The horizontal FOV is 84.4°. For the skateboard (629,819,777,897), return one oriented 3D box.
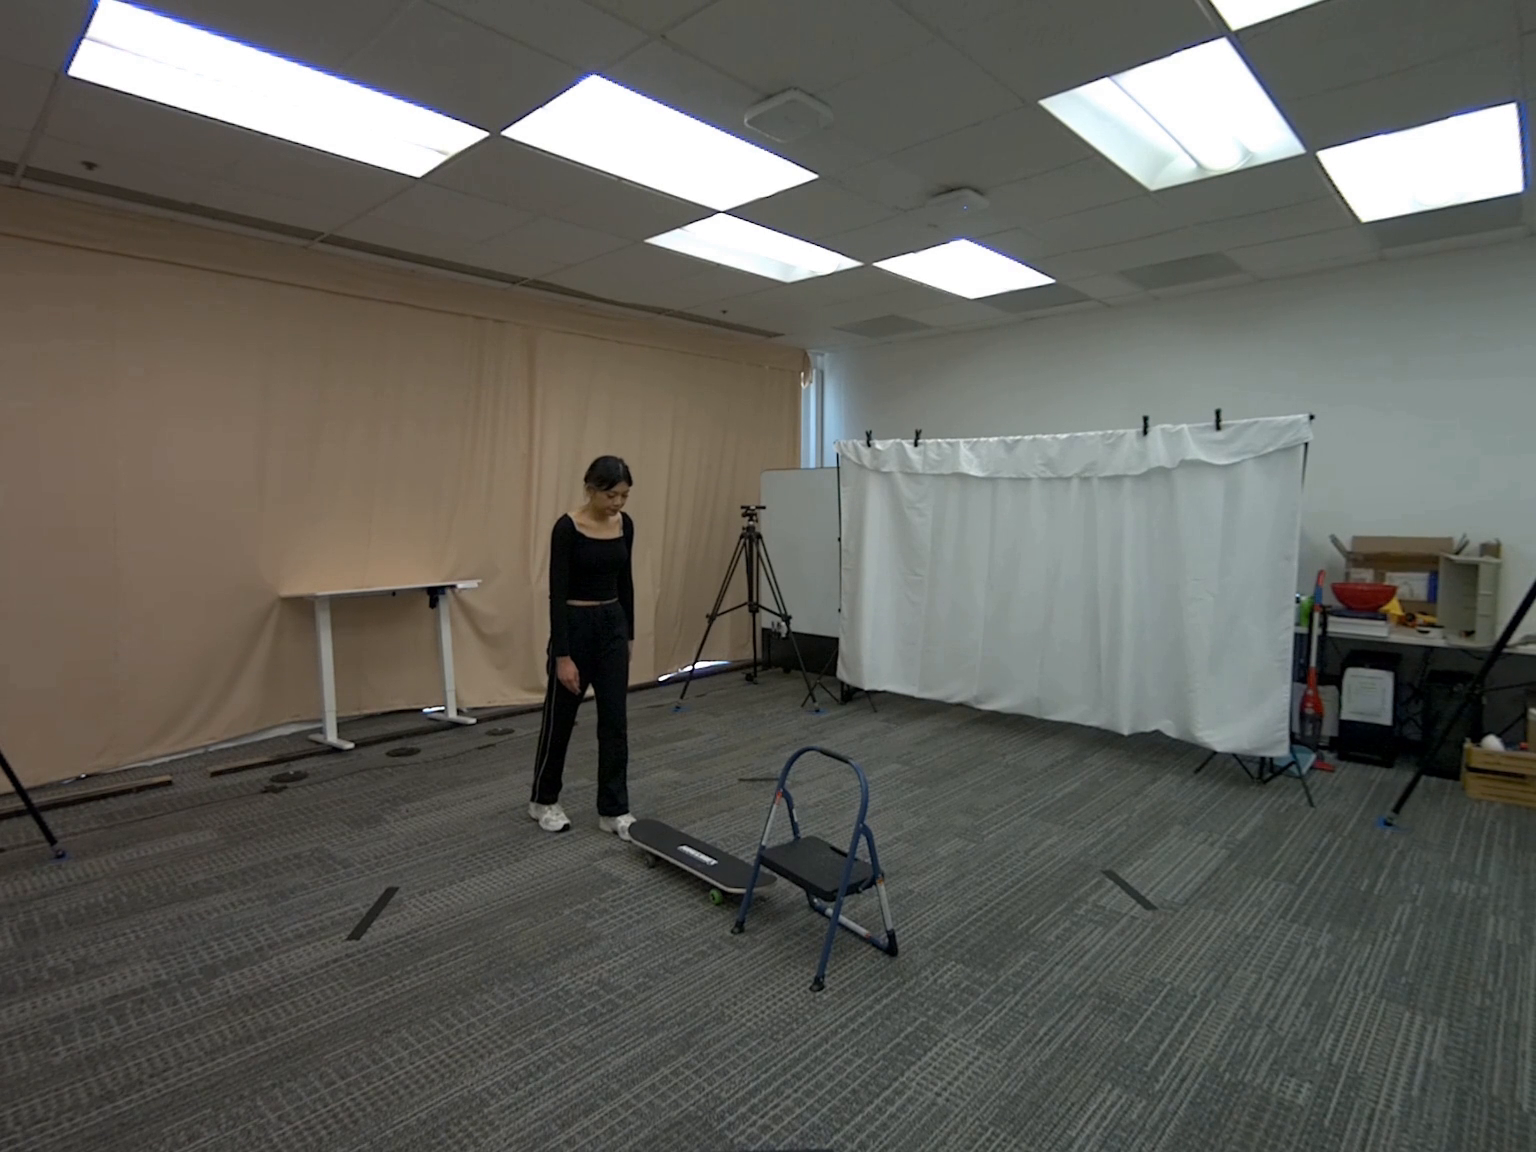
[{"bbox_3d":[-0.266,1.076,3.147,0.187,0.110,0.812,-3,5,-42],"label":"skateboard"}]
